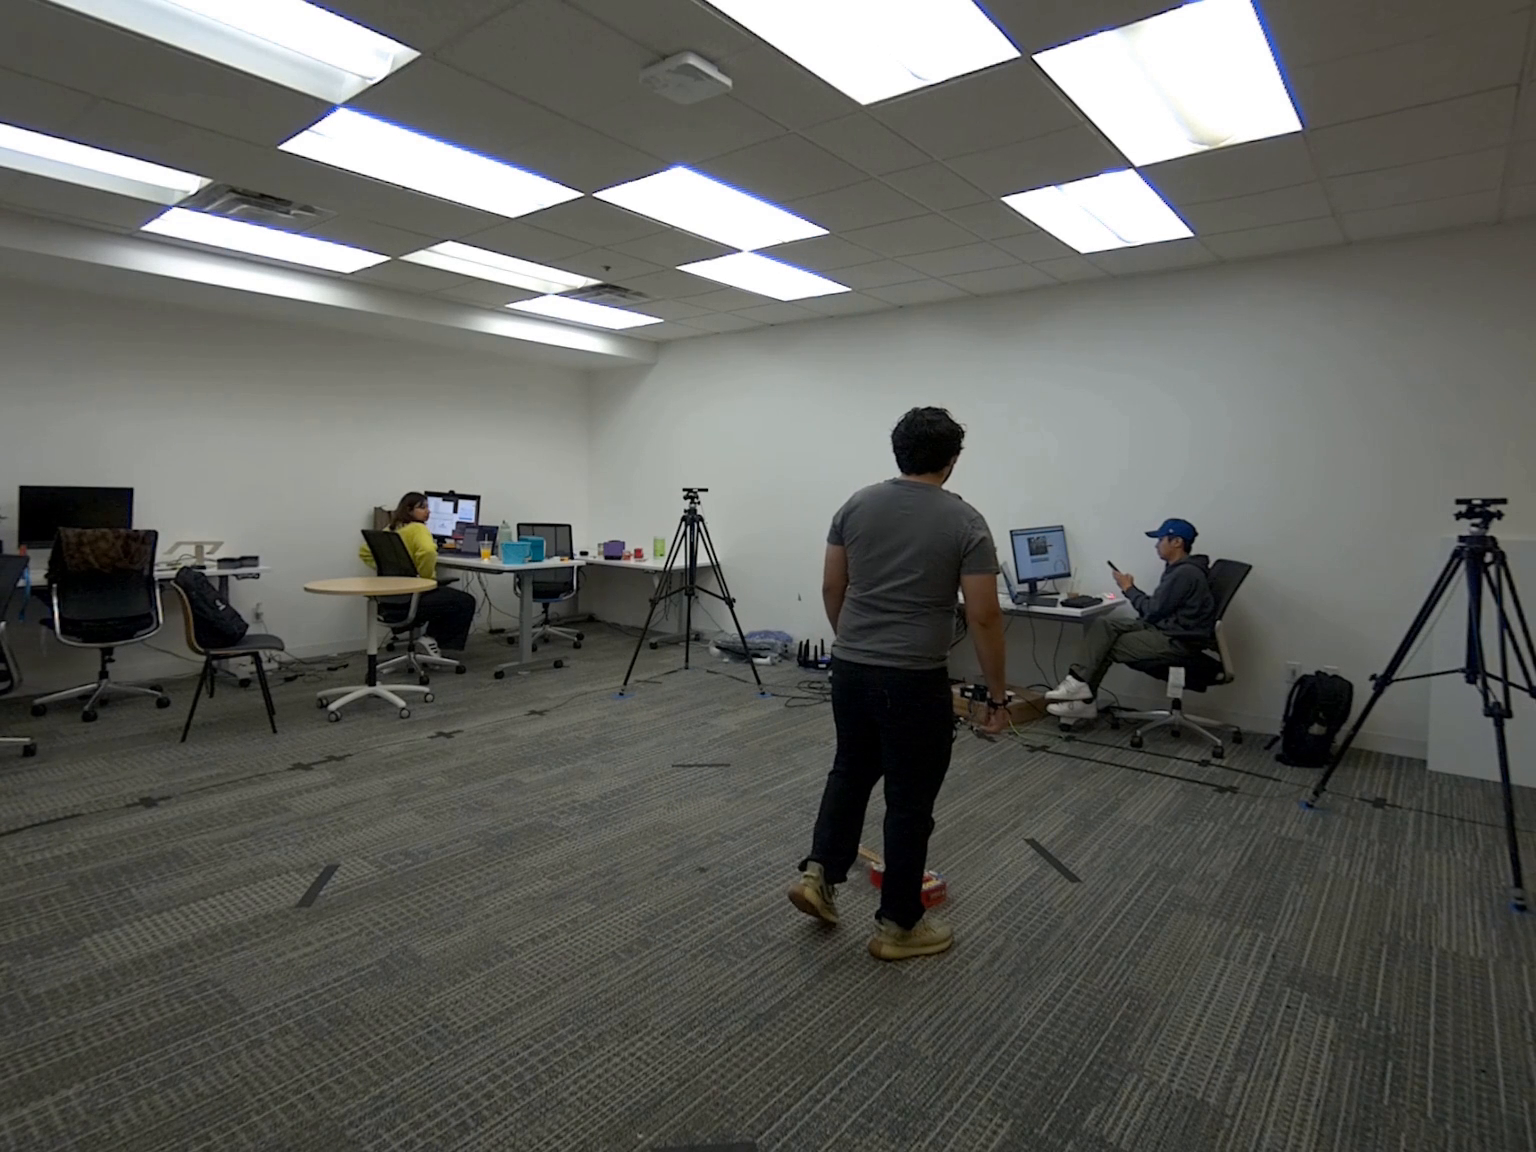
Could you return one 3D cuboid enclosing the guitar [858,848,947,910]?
[{"bbox_3d":[0.426,1.048,3.091,0.188,0.070,0.513,-2,7,-29],"label":"guitar"}]
